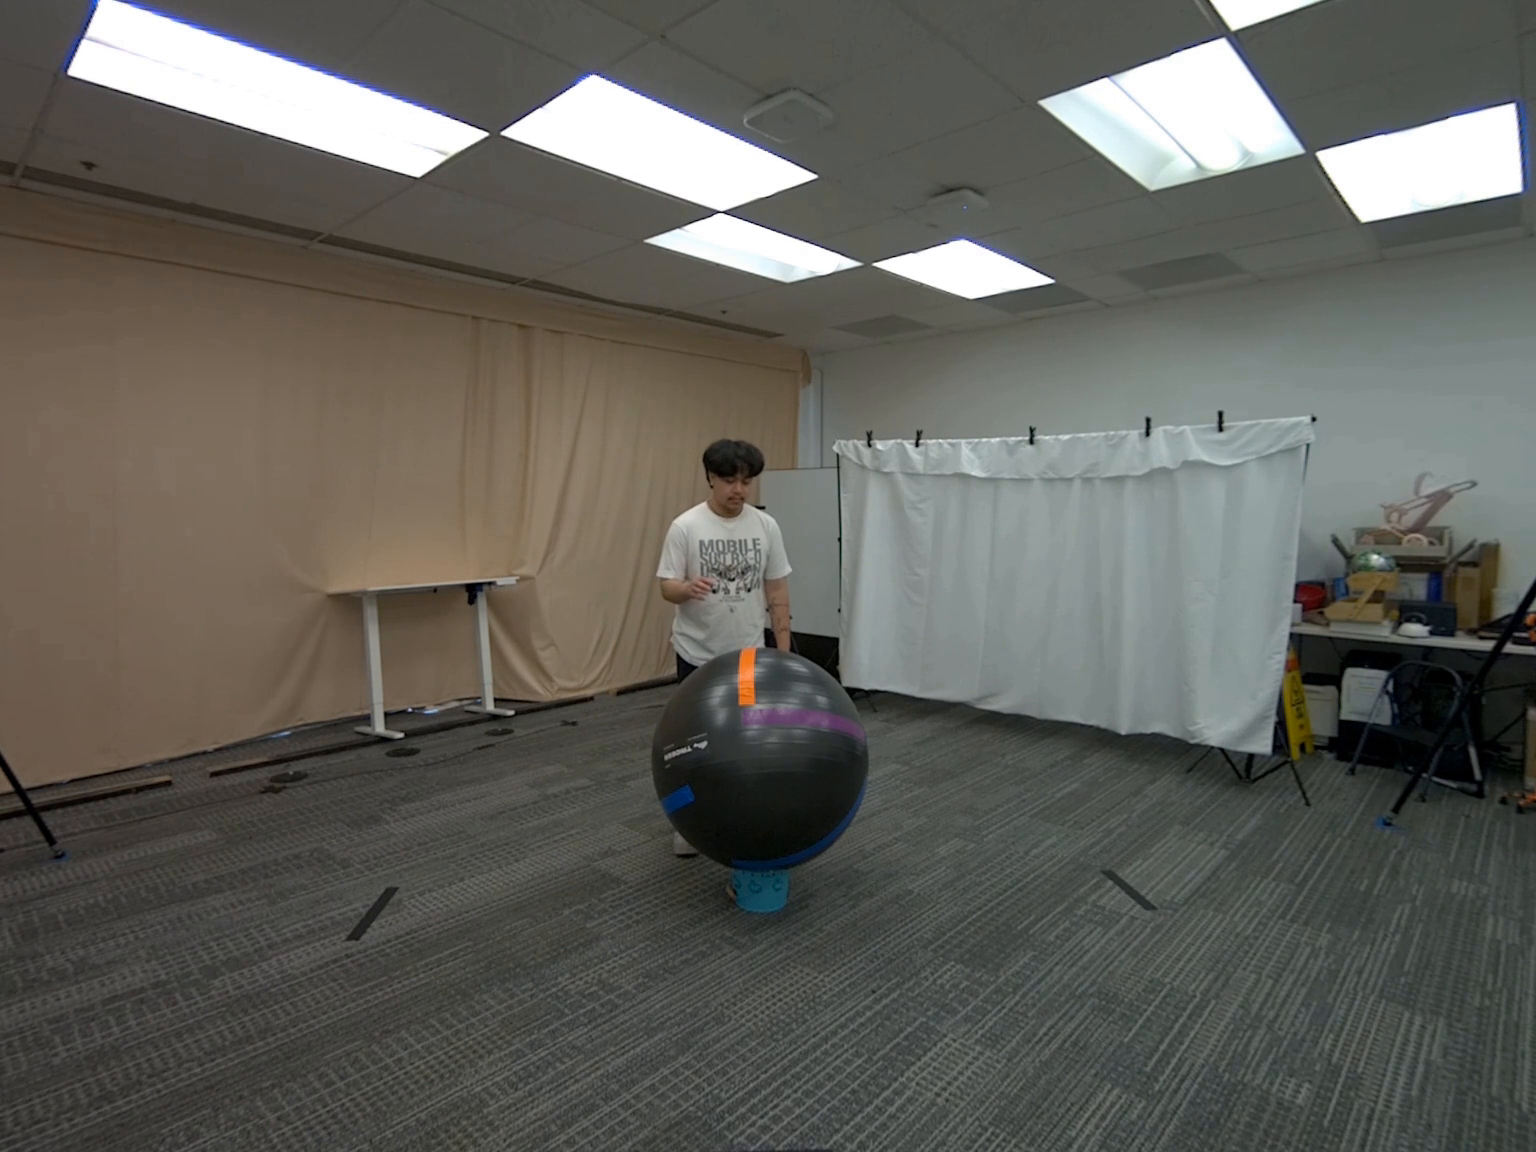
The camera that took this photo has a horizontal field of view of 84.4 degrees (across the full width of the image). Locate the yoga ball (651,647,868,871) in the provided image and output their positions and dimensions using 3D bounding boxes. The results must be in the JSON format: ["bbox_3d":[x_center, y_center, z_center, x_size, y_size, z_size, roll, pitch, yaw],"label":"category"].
[{"bbox_3d":[-0.032,0.638,2.947,0.757,0.756,0.761,0,4,-2],"label":"yoga ball"}]
